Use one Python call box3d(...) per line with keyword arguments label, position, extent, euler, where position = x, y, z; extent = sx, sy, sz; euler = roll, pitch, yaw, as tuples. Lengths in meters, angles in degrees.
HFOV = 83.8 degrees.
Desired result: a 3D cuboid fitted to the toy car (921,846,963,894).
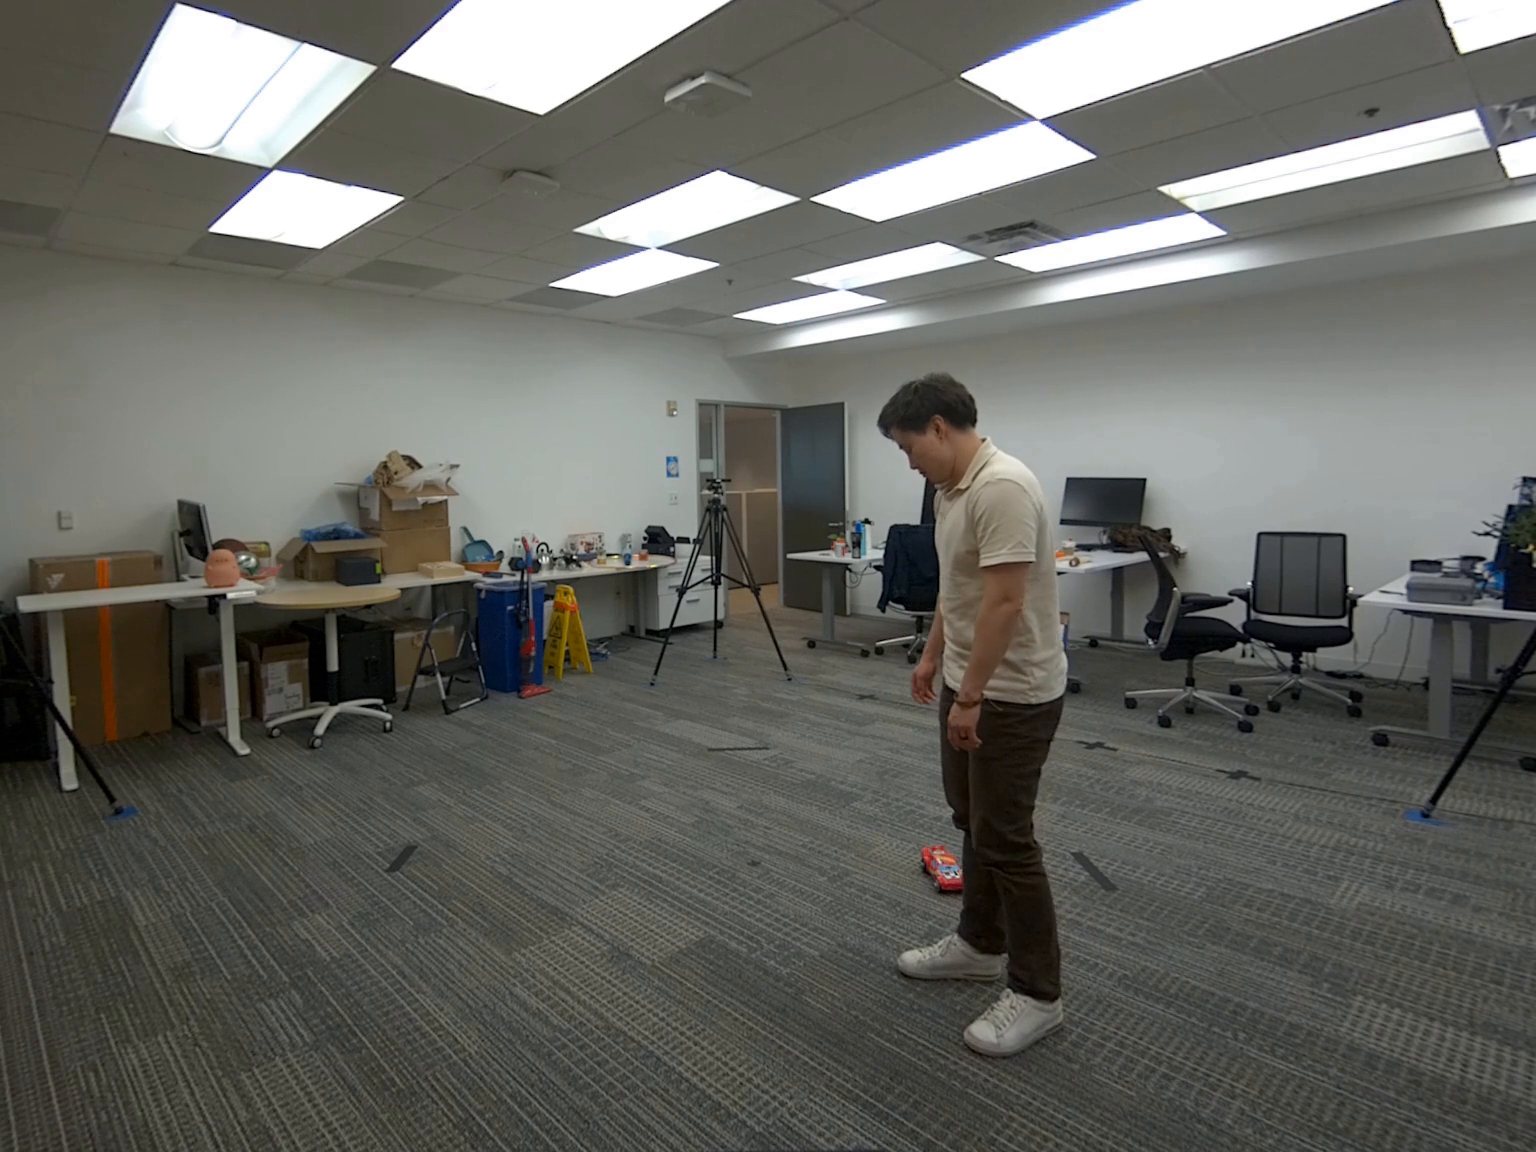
box3d(label="toy car", position=(0.614, 1.017, 2.962), extent=(0.130, 0.082, 0.259), euler=(-2, 17, -6))
